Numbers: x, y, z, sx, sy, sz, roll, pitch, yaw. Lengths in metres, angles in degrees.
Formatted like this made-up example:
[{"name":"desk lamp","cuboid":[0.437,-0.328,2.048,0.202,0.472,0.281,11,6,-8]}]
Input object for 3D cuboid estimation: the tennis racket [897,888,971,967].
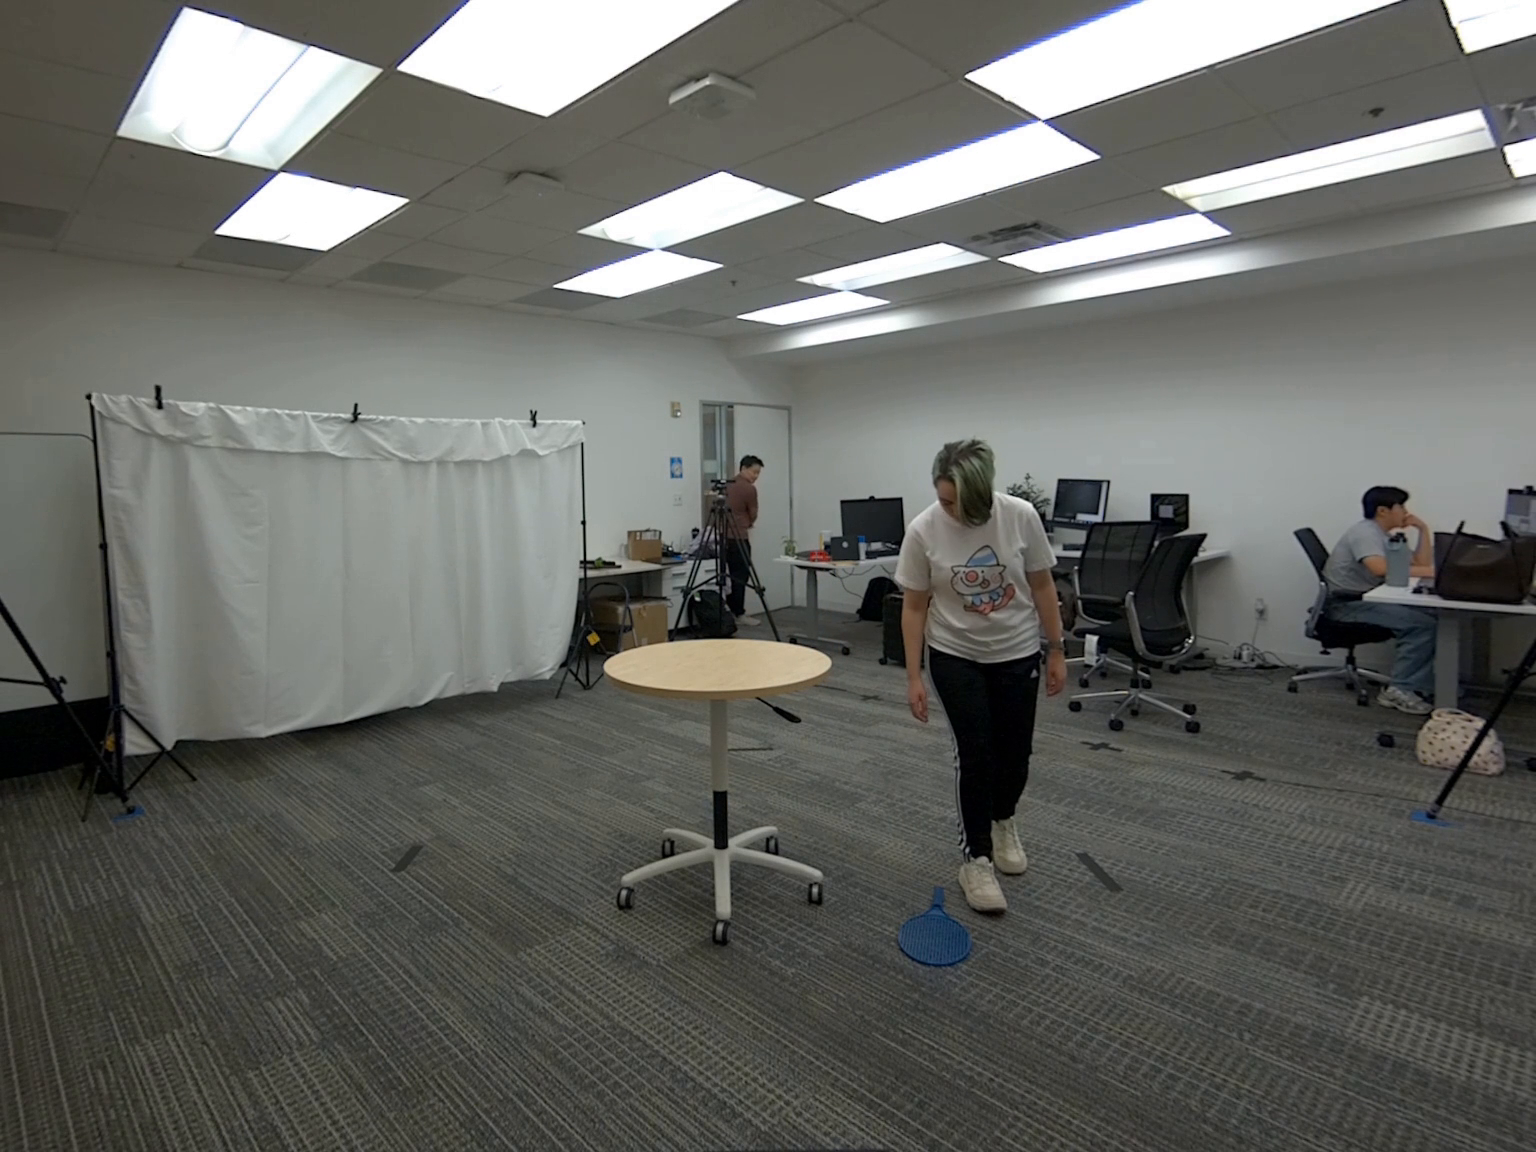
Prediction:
[{"name":"tennis racket","cuboid":[0.520,1.076,2.642,0.217,0.031,0.429,0,8,13]}]
